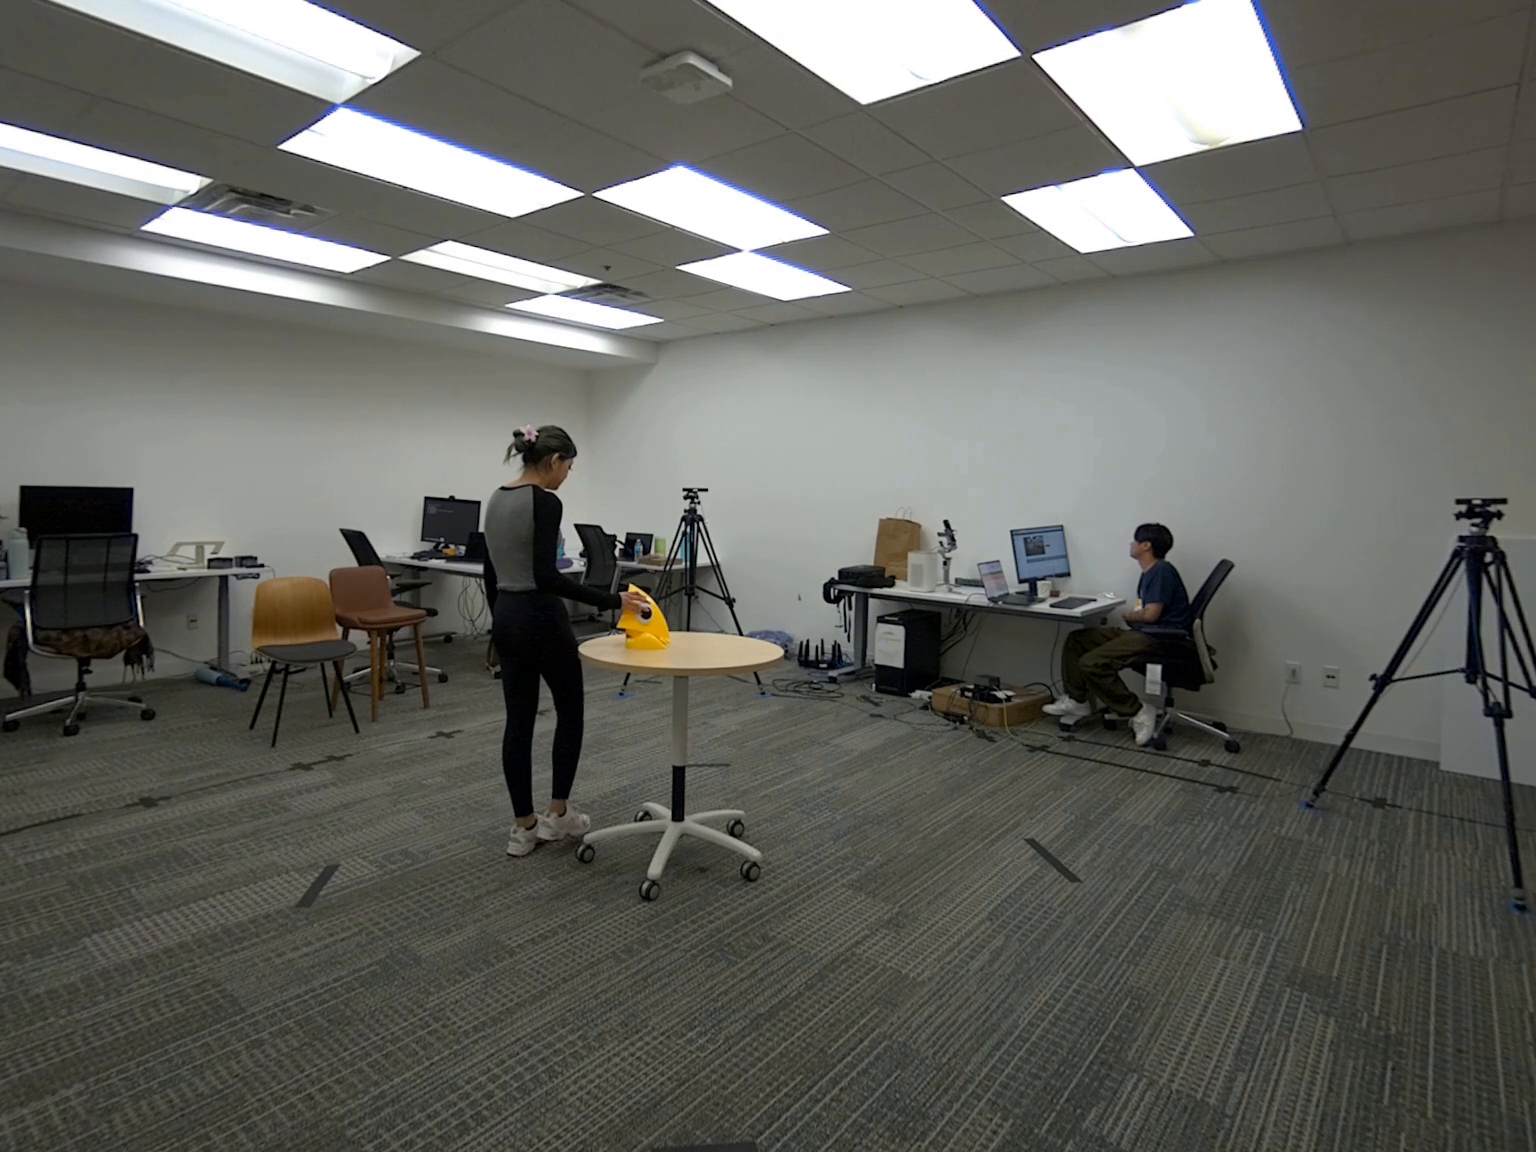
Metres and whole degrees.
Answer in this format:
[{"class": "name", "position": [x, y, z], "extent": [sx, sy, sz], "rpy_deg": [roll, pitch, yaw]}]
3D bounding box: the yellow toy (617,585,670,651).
[{"class": "yellow toy", "position": [-0.476, 0.147, 3.228], "extent": [0.194, 0.230, 0.204], "rpy_deg": [2, 3, 2]}]
